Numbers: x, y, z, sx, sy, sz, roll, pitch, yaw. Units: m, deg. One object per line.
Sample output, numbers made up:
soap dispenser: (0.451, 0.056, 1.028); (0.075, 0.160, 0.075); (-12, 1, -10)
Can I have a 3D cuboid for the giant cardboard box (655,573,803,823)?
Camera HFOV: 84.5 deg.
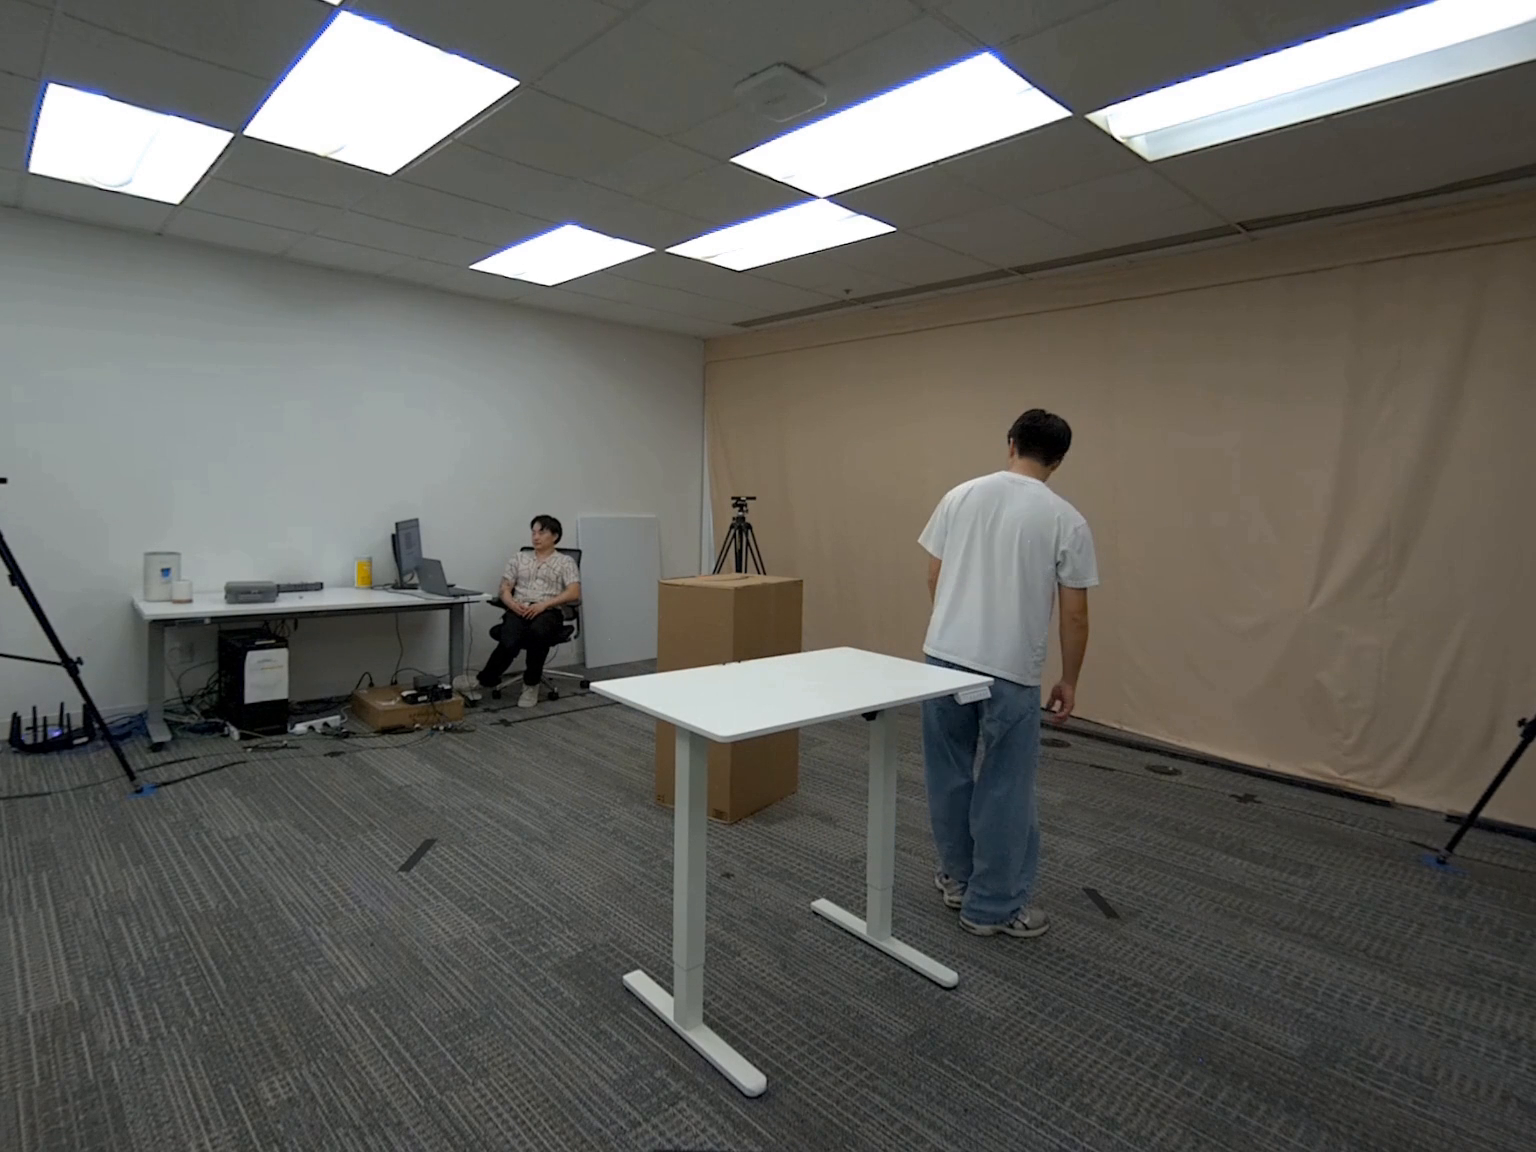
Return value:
giant cardboard box: (-0.181, 0.524, 3.912); (0.436, 1.023, 0.565); (4, 4, 35)
